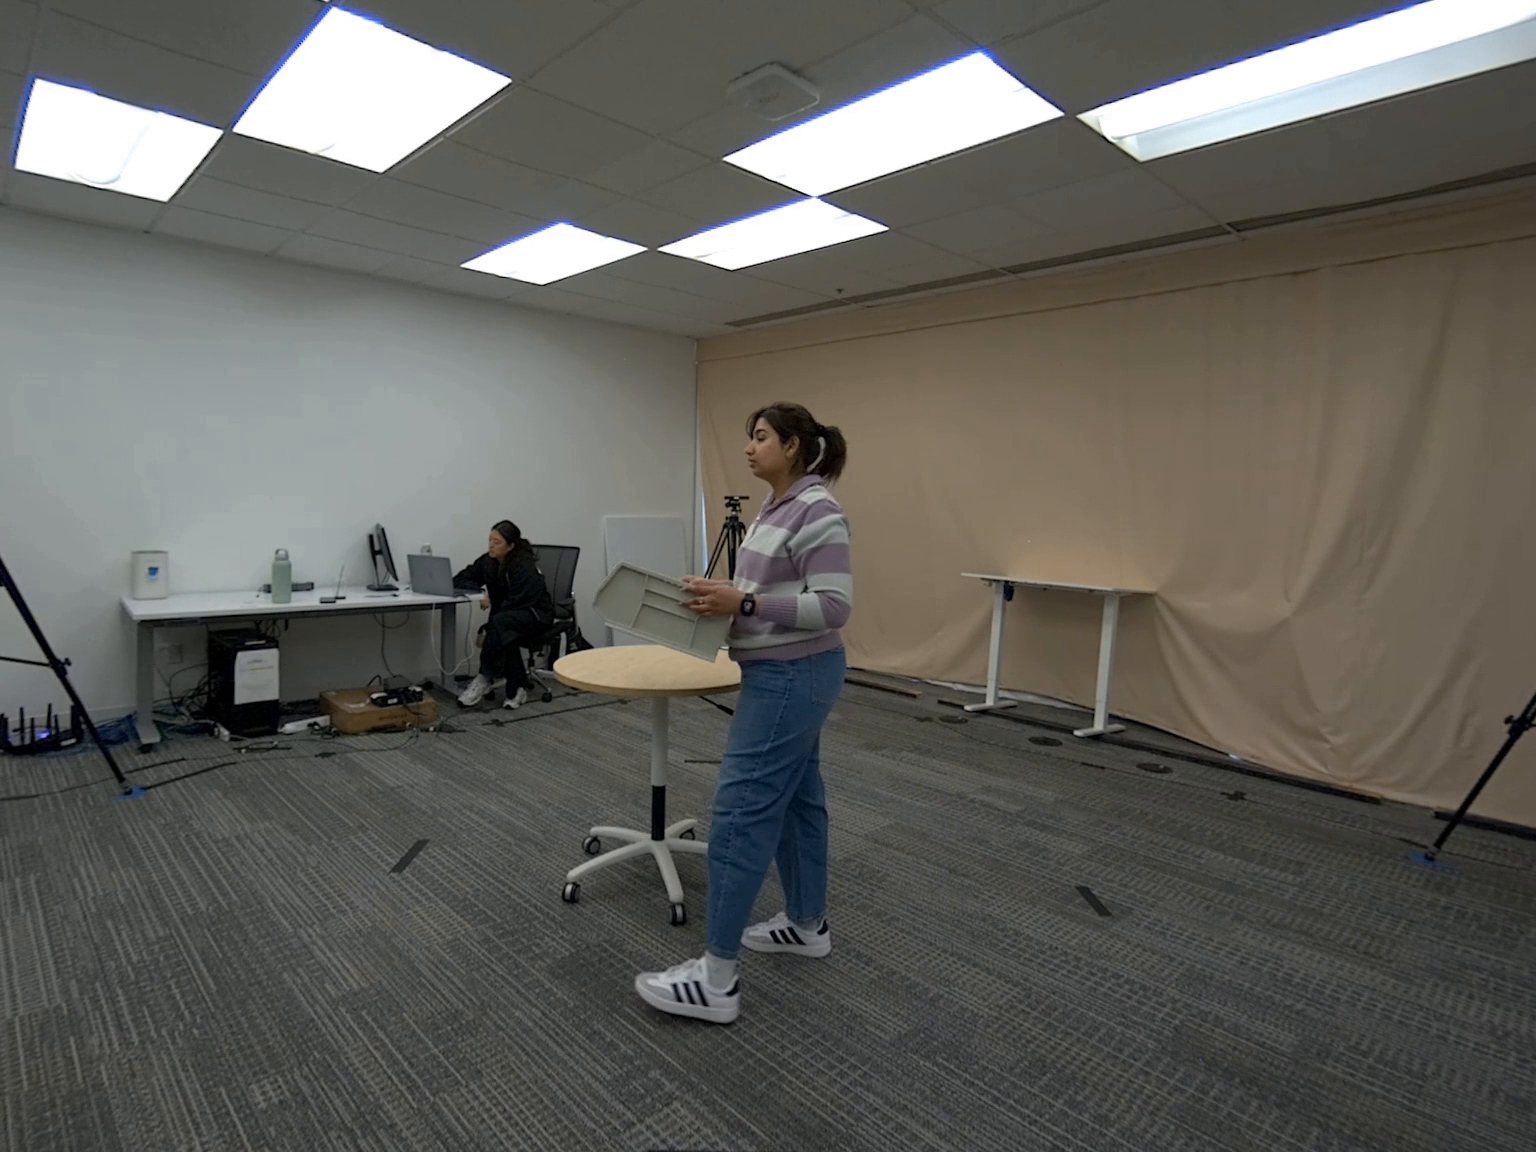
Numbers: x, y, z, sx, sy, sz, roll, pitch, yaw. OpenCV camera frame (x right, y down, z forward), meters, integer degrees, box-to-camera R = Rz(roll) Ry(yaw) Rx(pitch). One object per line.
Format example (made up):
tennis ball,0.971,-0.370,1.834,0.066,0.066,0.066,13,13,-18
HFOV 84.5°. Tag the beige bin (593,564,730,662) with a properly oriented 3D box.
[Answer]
beige bin,-0.321,0.095,2.472,0.375,0.189,0.424,20,-4,-7
